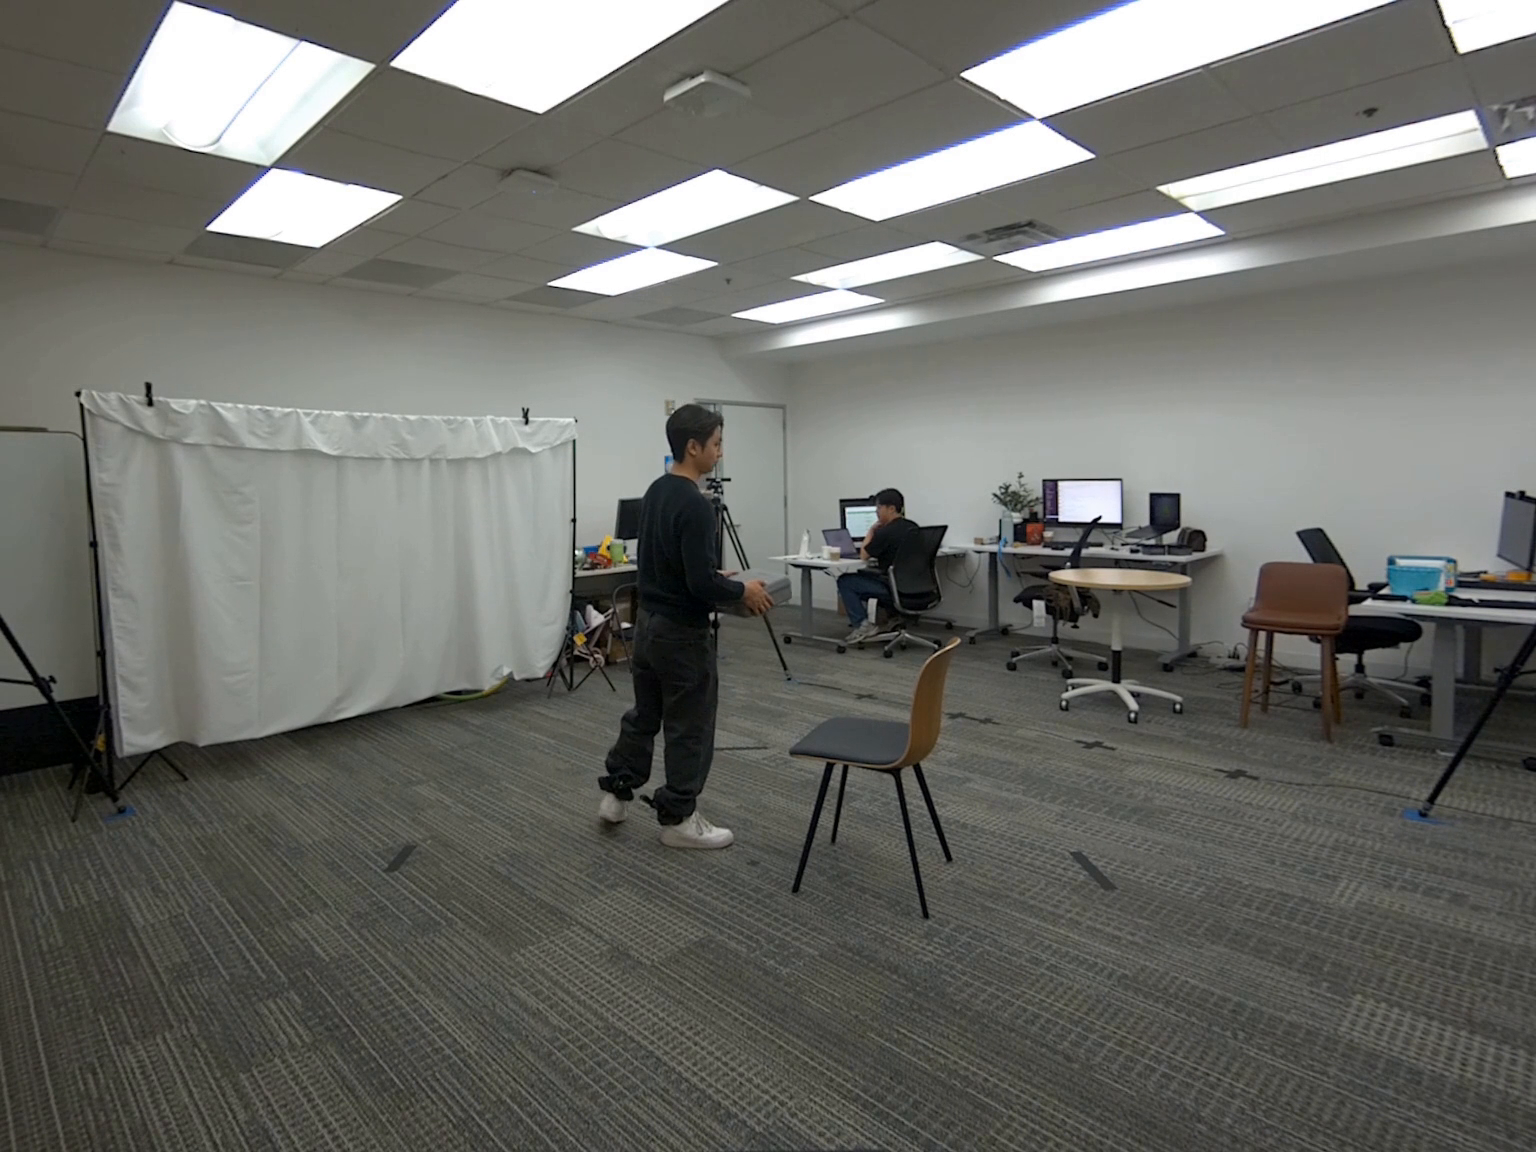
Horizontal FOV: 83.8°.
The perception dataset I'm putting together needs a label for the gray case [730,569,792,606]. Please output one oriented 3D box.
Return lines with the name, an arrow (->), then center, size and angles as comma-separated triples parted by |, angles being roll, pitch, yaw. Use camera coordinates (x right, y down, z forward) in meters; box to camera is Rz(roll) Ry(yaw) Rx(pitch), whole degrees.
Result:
gray case -> -0.080, 0.061, 3.381 | 0.256, 0.102, 0.265 | -22, 20, -31
